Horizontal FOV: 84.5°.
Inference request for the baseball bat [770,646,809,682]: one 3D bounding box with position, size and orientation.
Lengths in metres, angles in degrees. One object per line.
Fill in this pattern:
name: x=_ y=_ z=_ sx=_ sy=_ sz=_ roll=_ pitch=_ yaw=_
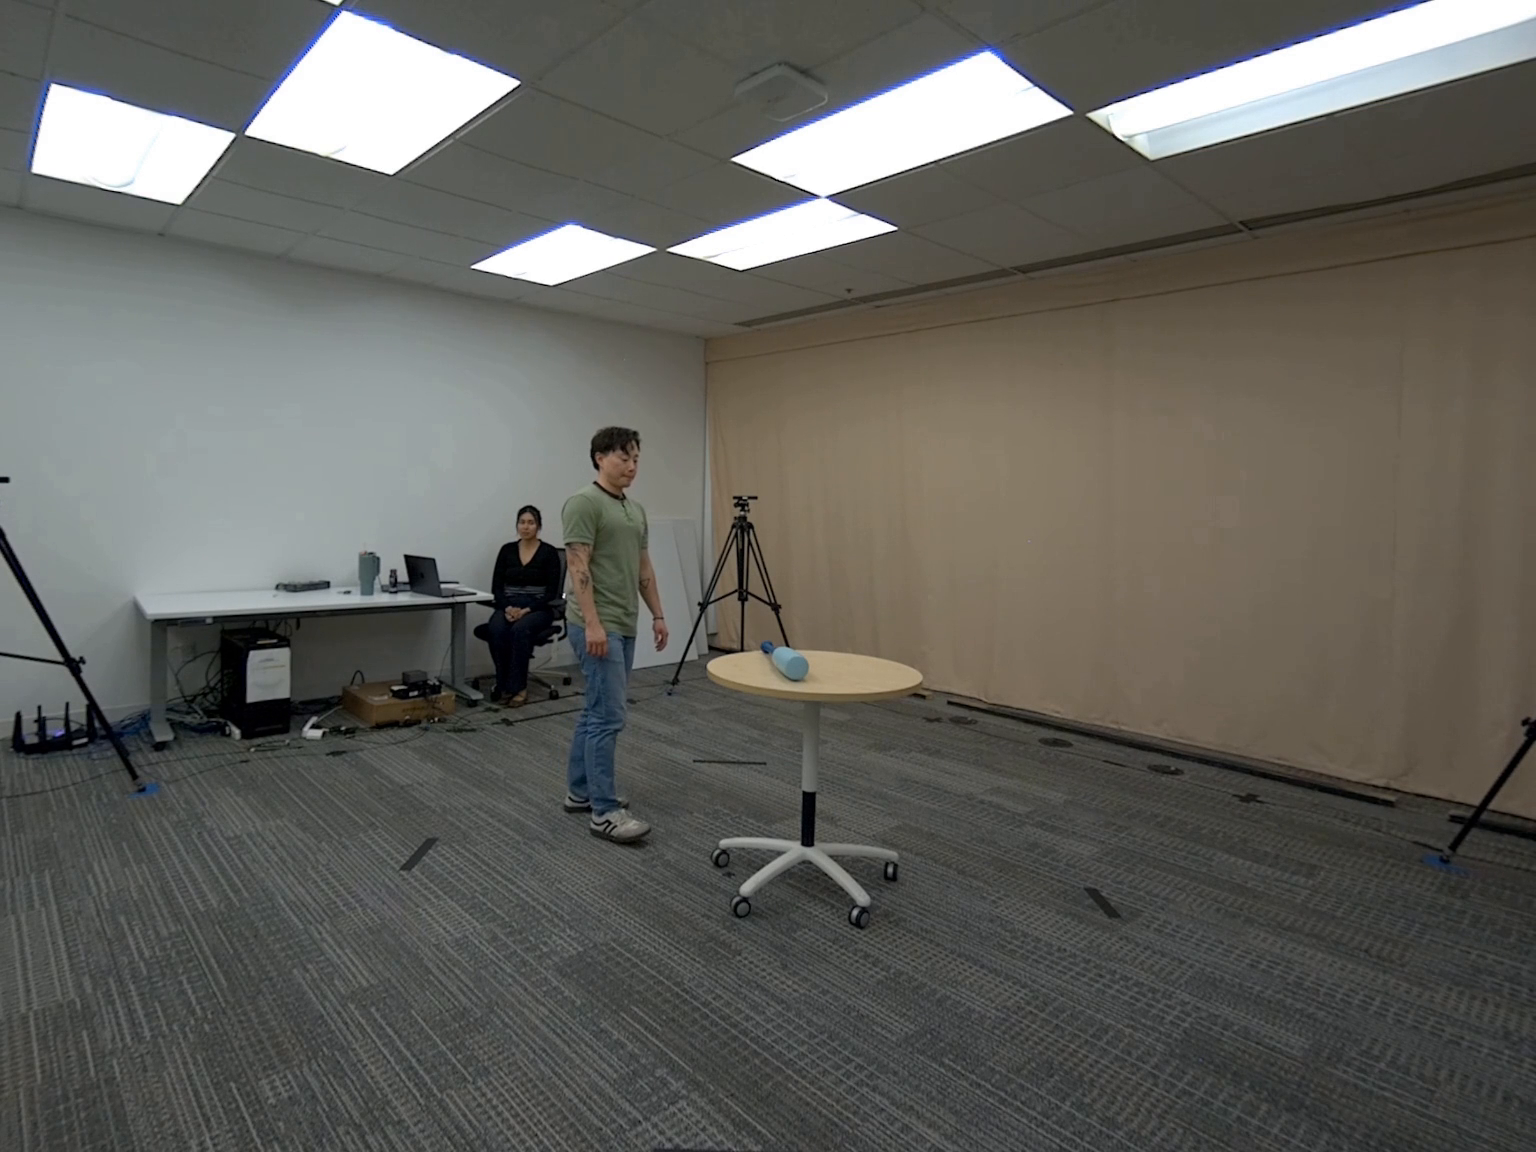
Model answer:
baseball bat: x=0.038 y=0.291 z=3.043 sx=0.088 sy=0.089 sz=0.547 roll=1 pitch=3 yaw=-10
